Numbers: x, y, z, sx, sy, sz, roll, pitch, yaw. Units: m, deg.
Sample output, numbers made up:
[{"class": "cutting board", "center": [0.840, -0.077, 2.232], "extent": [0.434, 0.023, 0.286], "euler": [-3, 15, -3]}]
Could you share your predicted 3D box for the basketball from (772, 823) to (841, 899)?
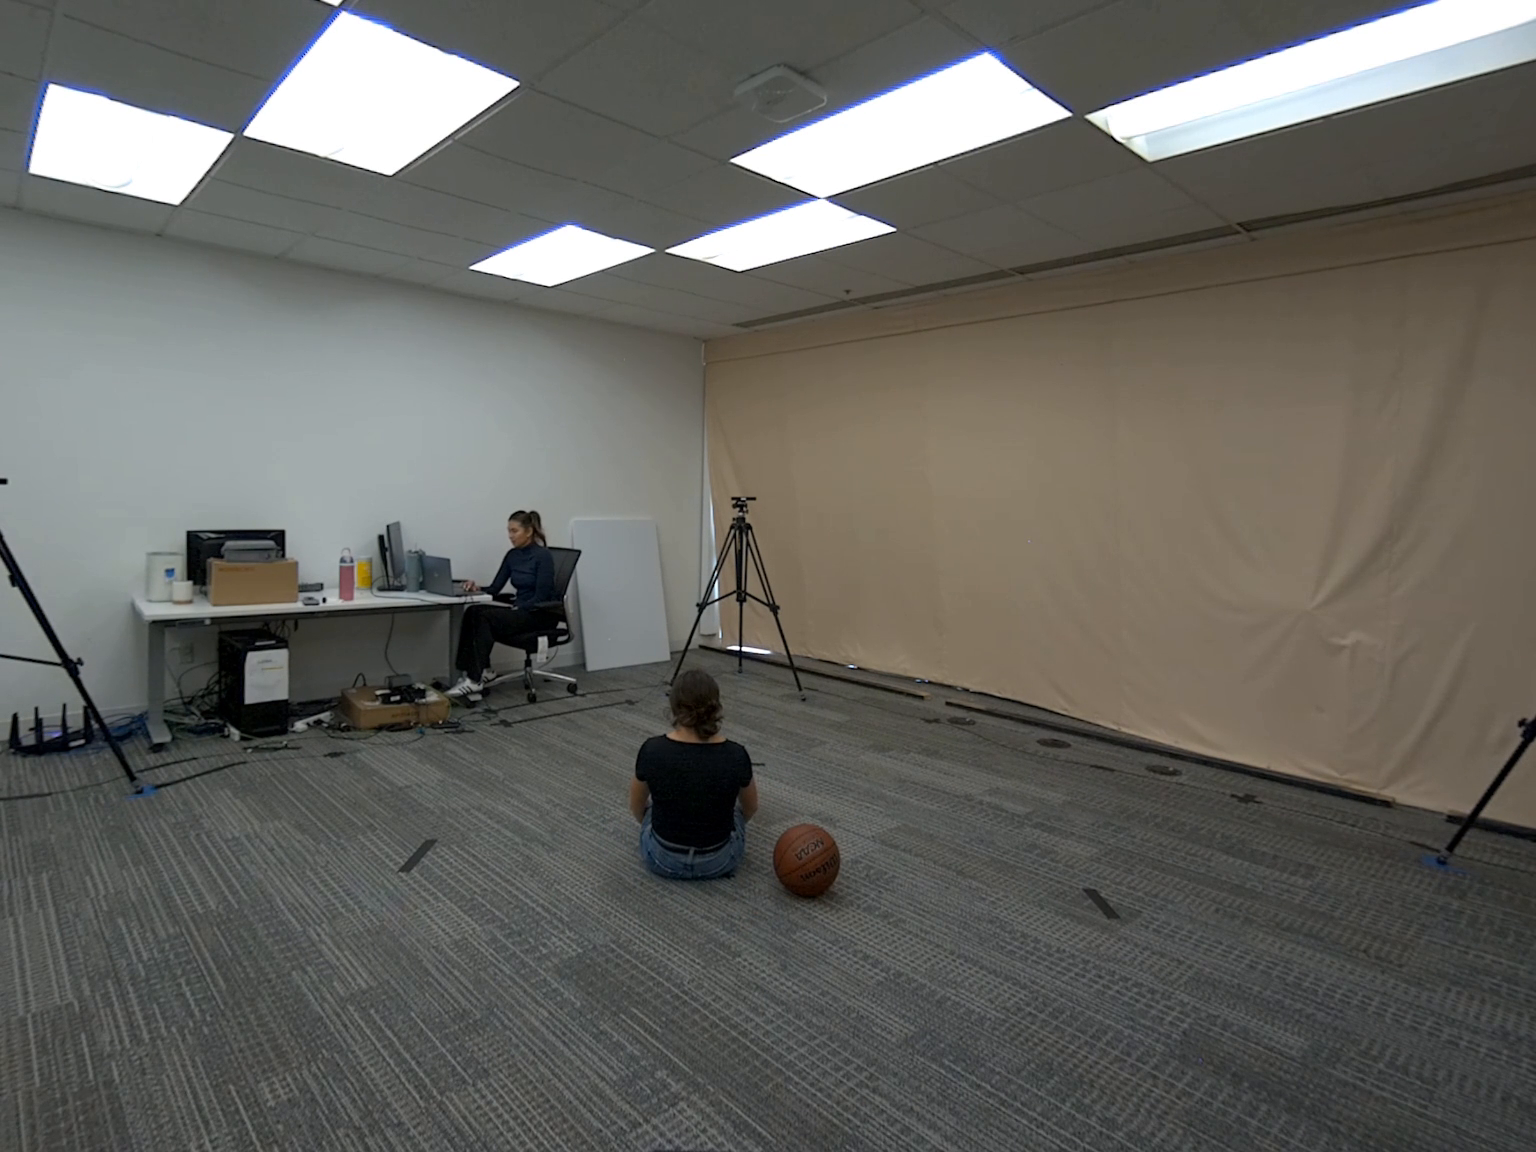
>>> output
[{"class": "basketball", "center": [0.130, 1.000, 2.983], "extent": [0.236, 0.235, 0.237], "euler": [1, 4, -1]}]
